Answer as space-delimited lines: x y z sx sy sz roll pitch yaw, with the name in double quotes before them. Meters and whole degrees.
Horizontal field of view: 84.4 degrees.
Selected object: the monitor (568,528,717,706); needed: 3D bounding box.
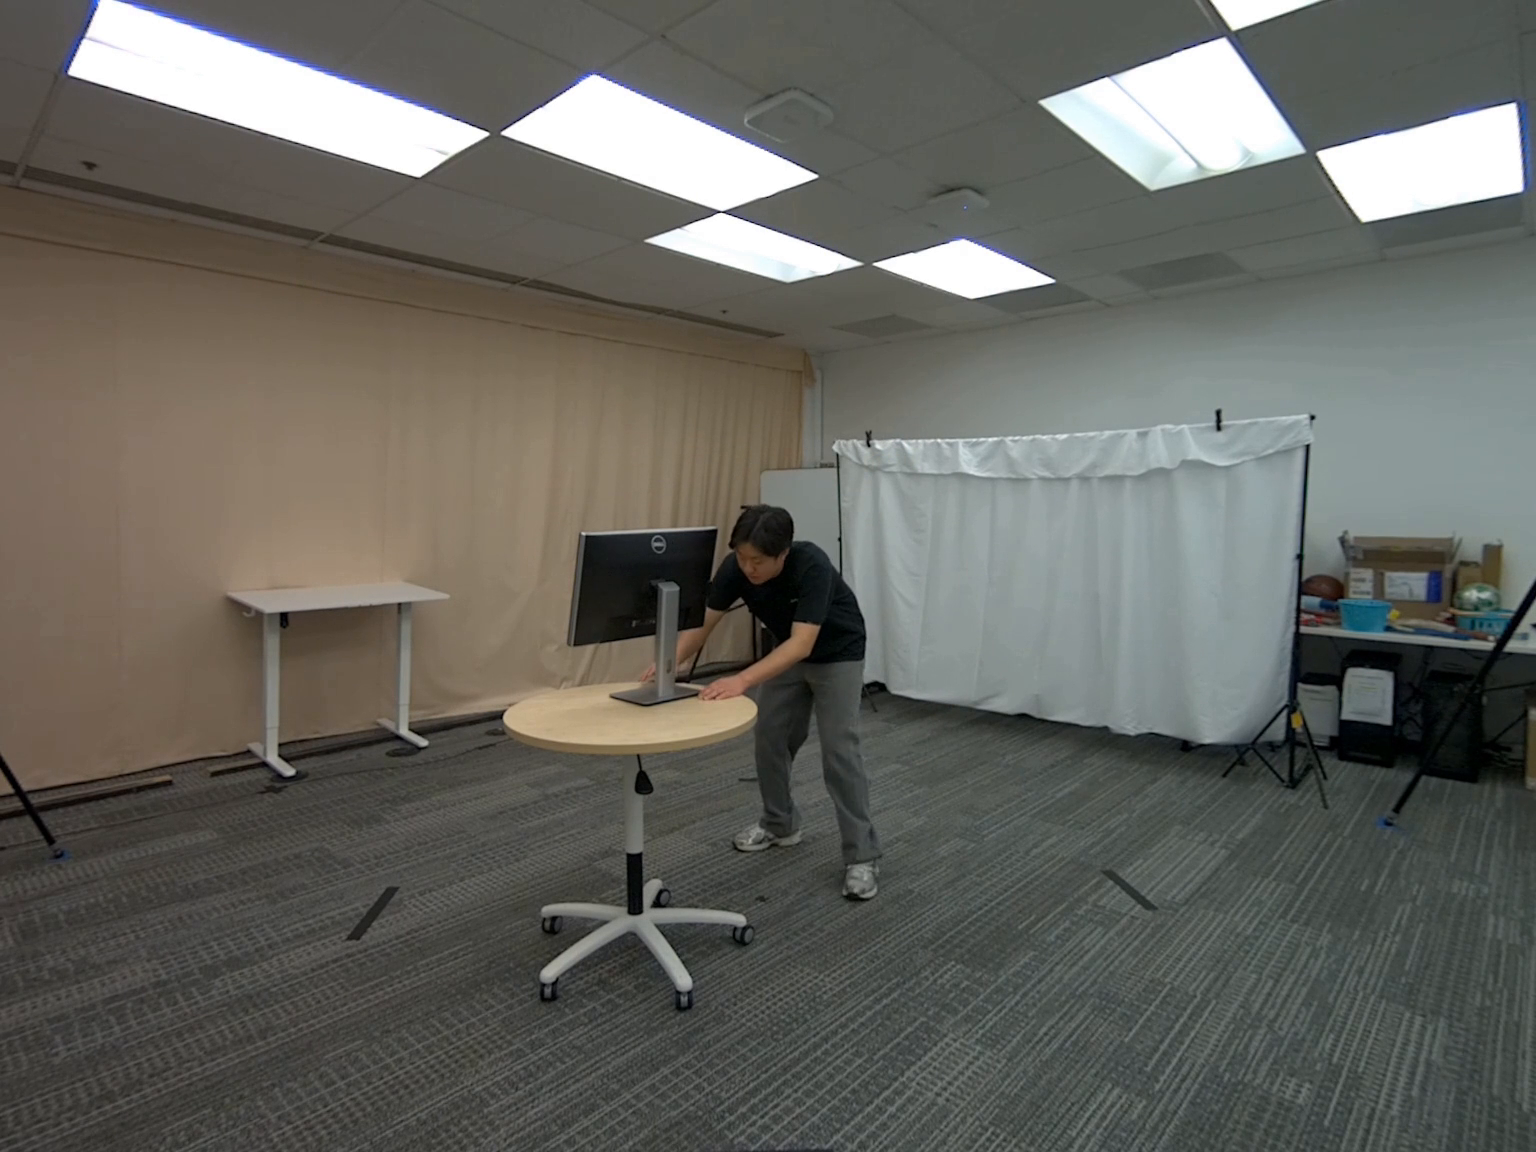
"monitor" -0.348 0.126 2.703 0.217 0.551 0.548 12 11 43
